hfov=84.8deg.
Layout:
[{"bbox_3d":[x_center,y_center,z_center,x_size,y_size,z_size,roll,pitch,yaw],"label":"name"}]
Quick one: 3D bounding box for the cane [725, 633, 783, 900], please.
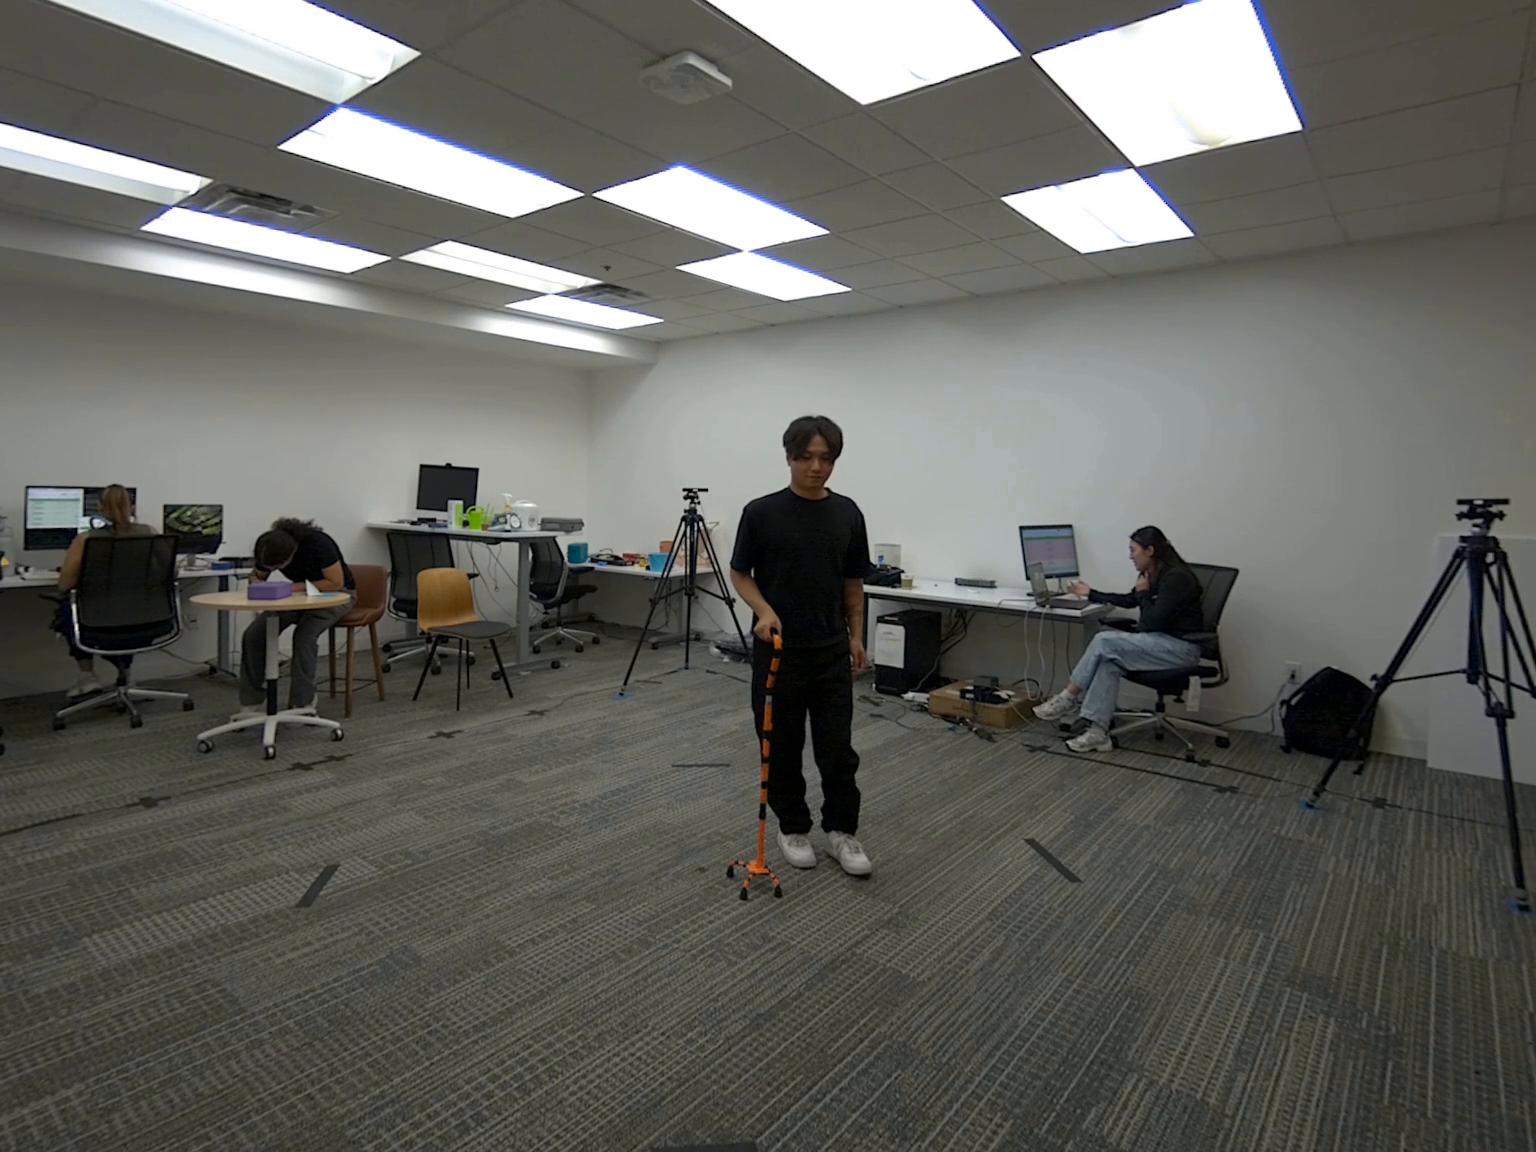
[{"bbox_3d":[-0.039,0.638,2.961,0.149,0.905,0.211,1,4,-18],"label":"cane"}]
